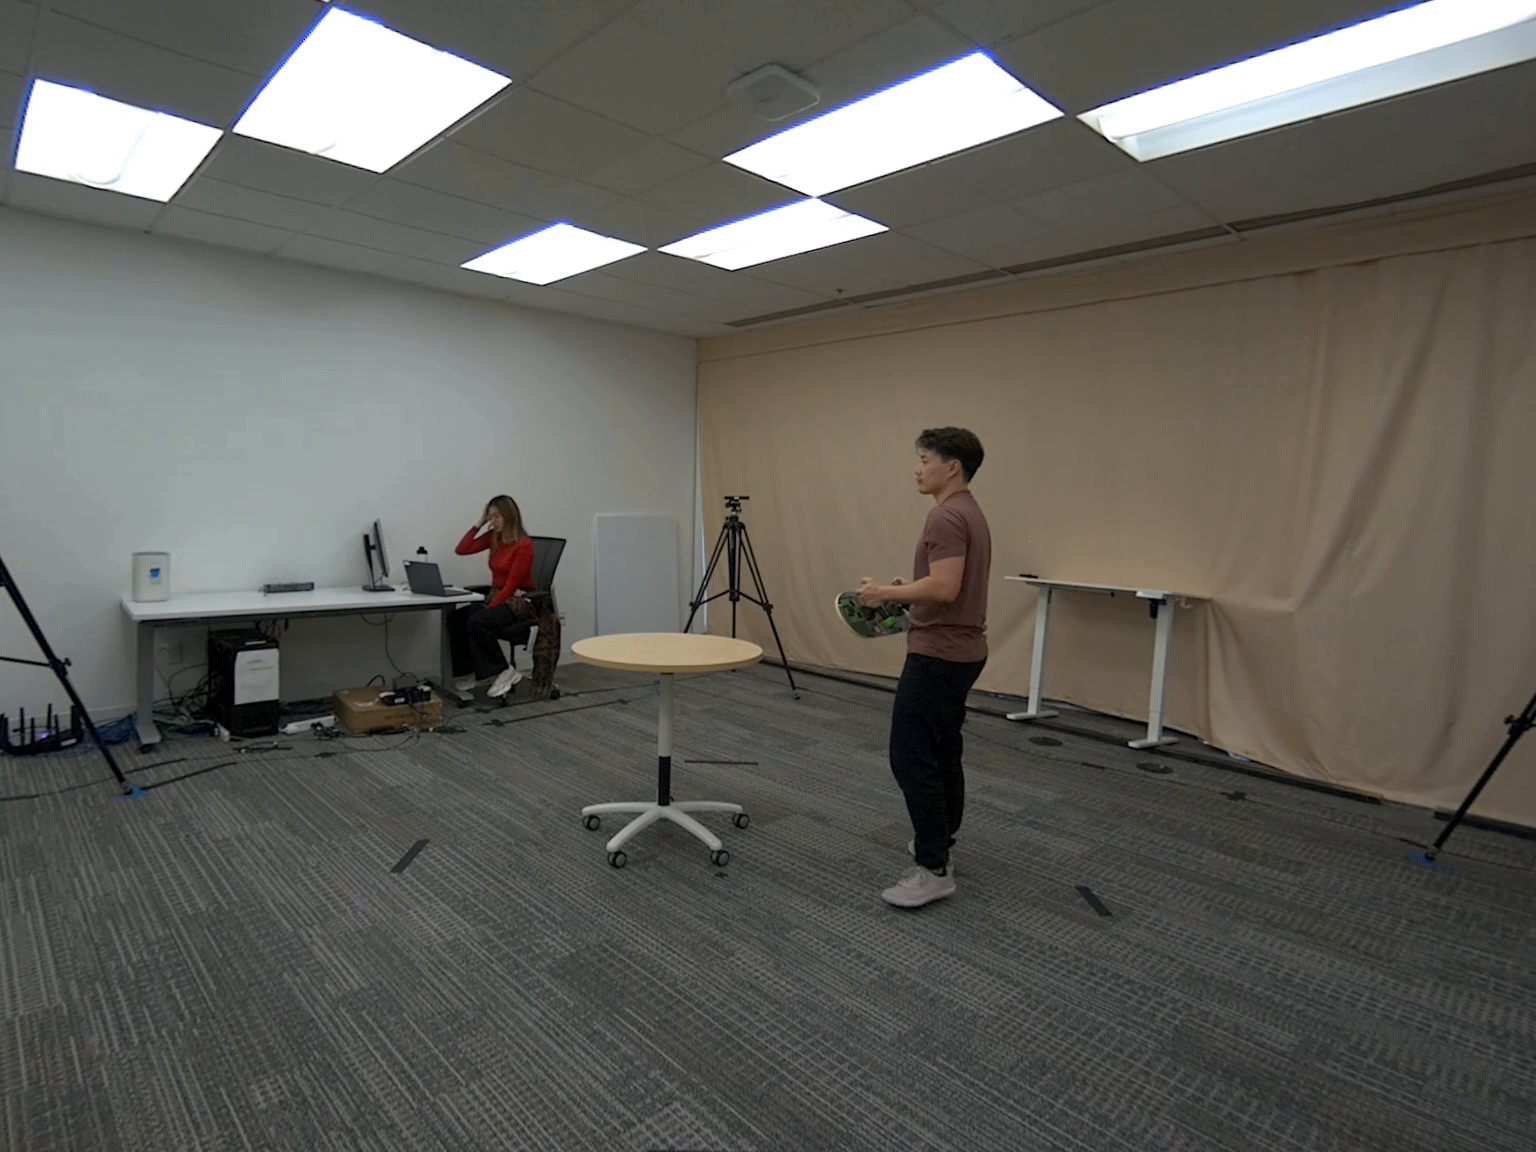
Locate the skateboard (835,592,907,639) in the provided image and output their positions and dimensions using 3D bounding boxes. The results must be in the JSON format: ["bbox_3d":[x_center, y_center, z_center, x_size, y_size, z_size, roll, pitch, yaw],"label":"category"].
[{"bbox_3d":[0.446,0.116,3.237,0.110,0.197,0.770,-40,-16,19],"label":"skateboard"}]
